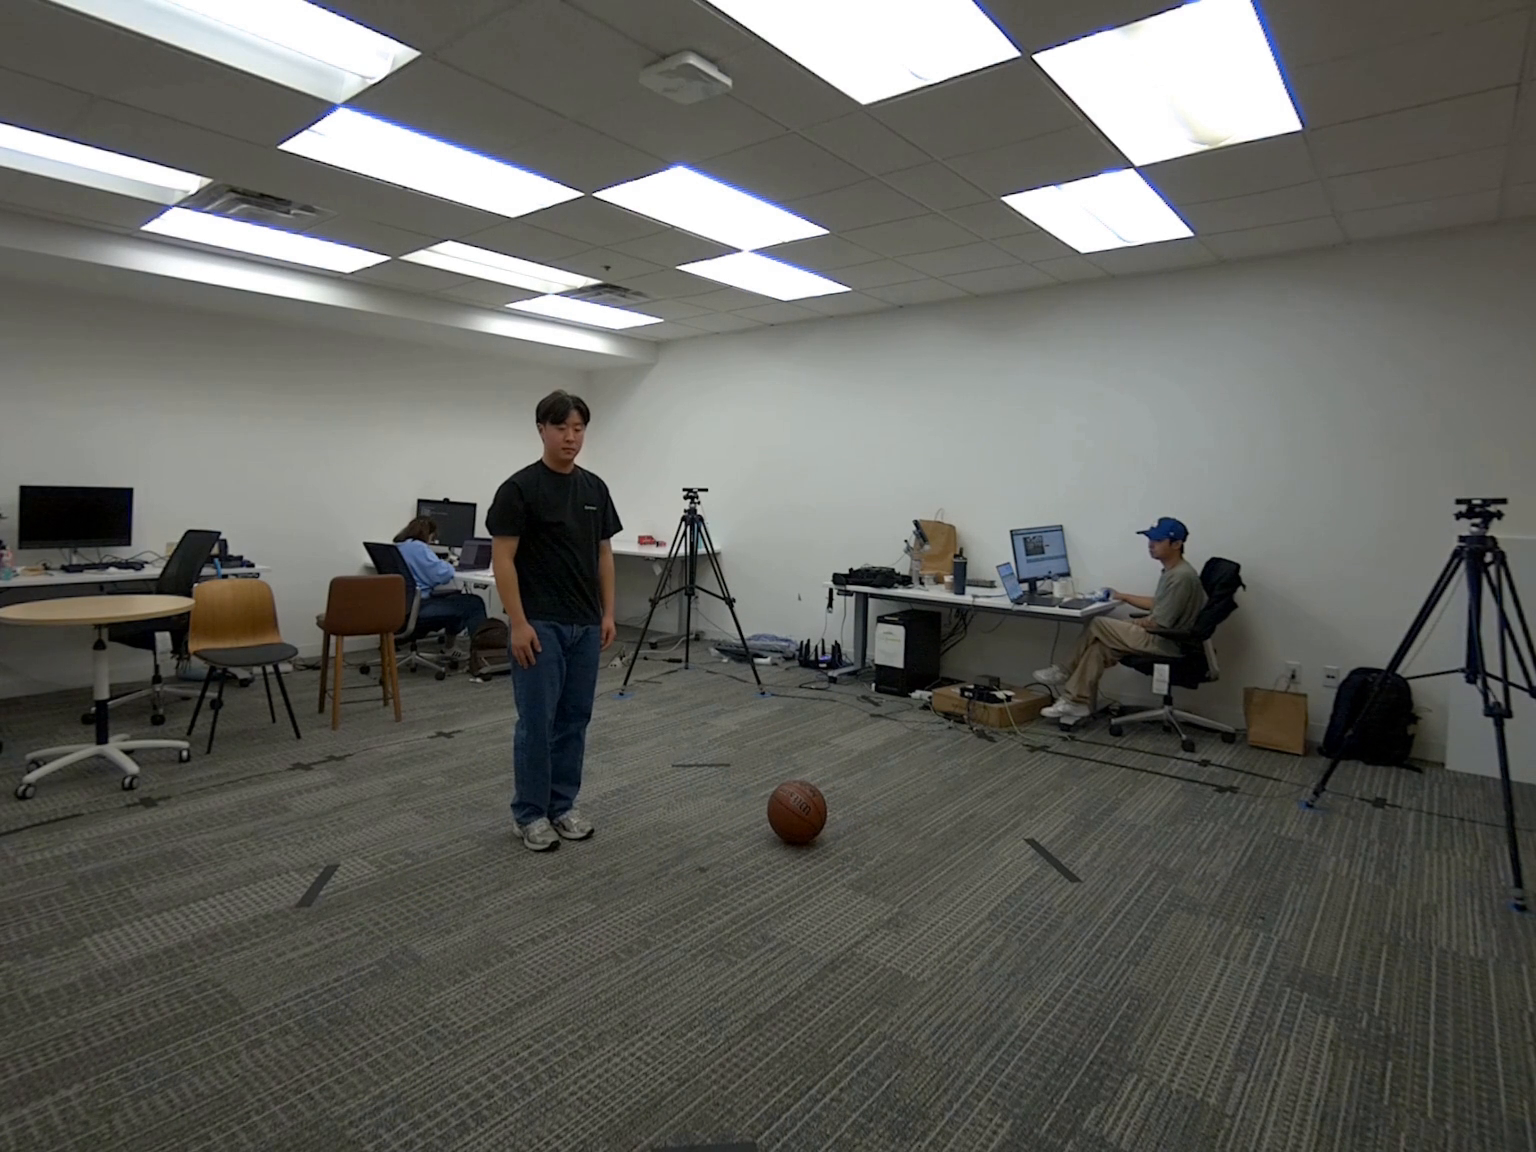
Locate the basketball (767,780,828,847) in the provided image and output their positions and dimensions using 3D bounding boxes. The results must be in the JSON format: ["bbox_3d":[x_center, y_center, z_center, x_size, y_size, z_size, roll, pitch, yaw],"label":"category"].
[{"bbox_3d":[0.113,0.929,3.376,0.235,0.235,0.237,1,4,-2],"label":"basketball"}]
